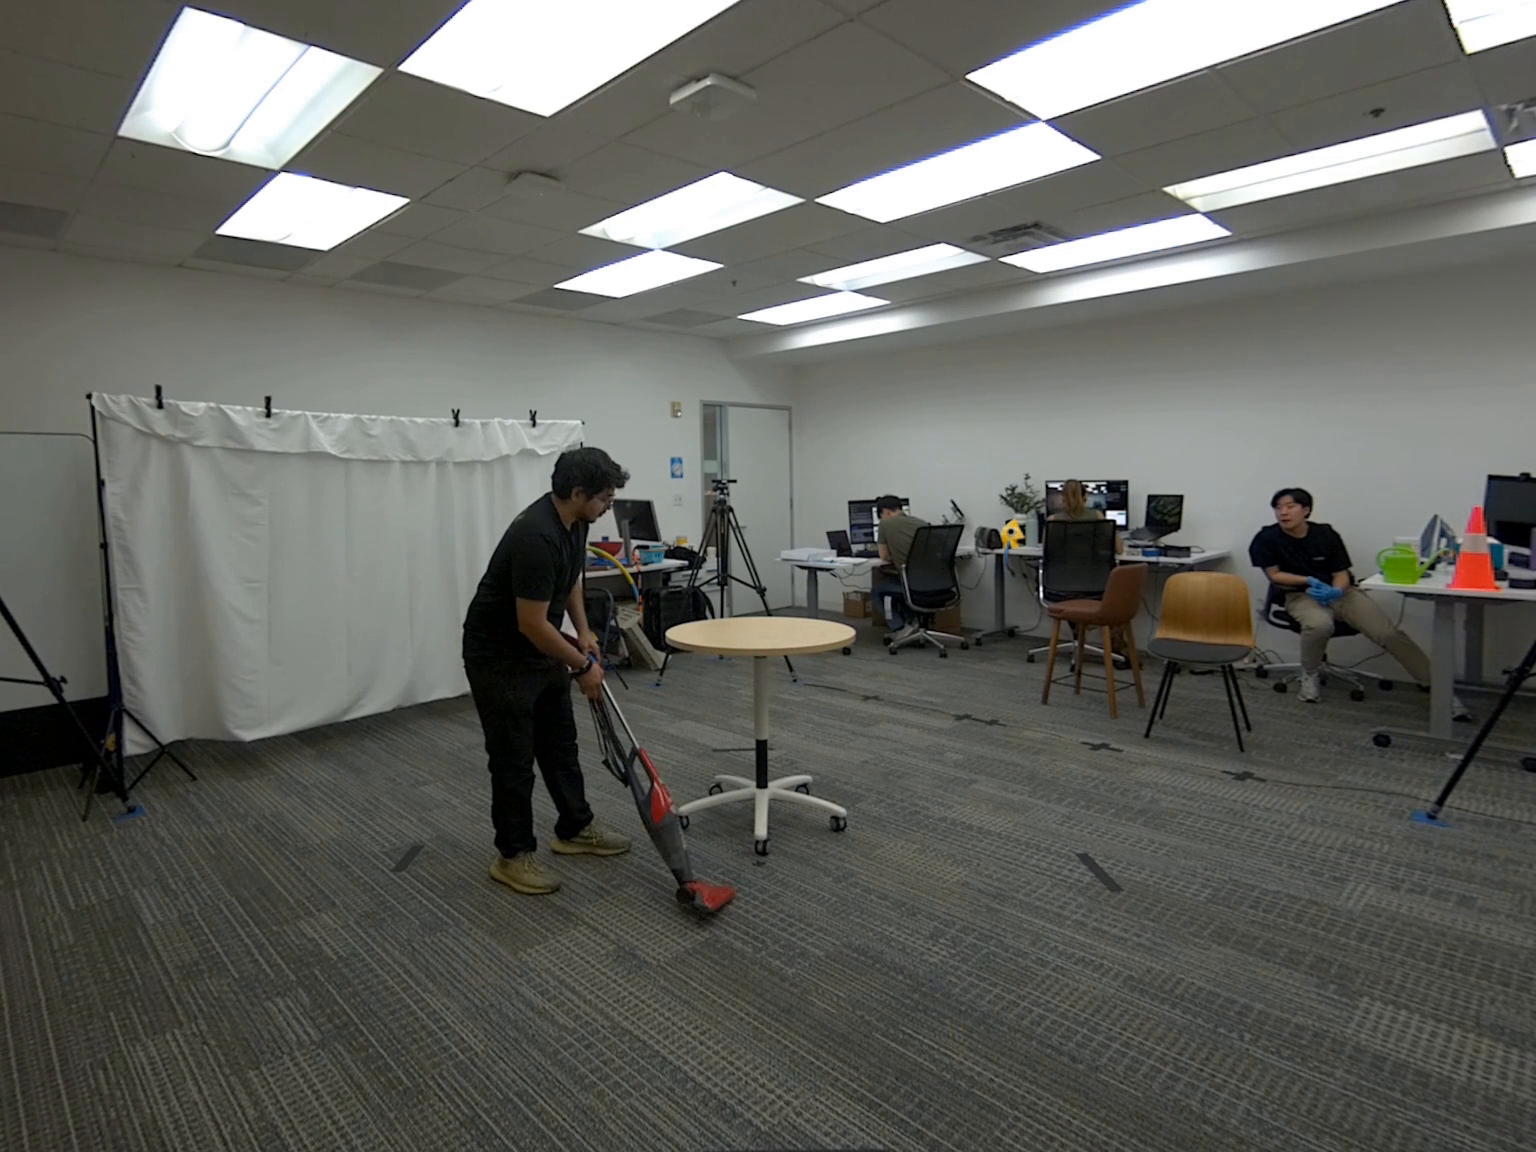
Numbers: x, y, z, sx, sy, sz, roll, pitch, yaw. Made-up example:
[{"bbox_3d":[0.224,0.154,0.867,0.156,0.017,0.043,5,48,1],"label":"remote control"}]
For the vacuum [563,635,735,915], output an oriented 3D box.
[{"bbox_3d":[-0.471,0.631,2.947,0.144,1.074,0.246,-34,-19,2],"label":"vacuum"}]
